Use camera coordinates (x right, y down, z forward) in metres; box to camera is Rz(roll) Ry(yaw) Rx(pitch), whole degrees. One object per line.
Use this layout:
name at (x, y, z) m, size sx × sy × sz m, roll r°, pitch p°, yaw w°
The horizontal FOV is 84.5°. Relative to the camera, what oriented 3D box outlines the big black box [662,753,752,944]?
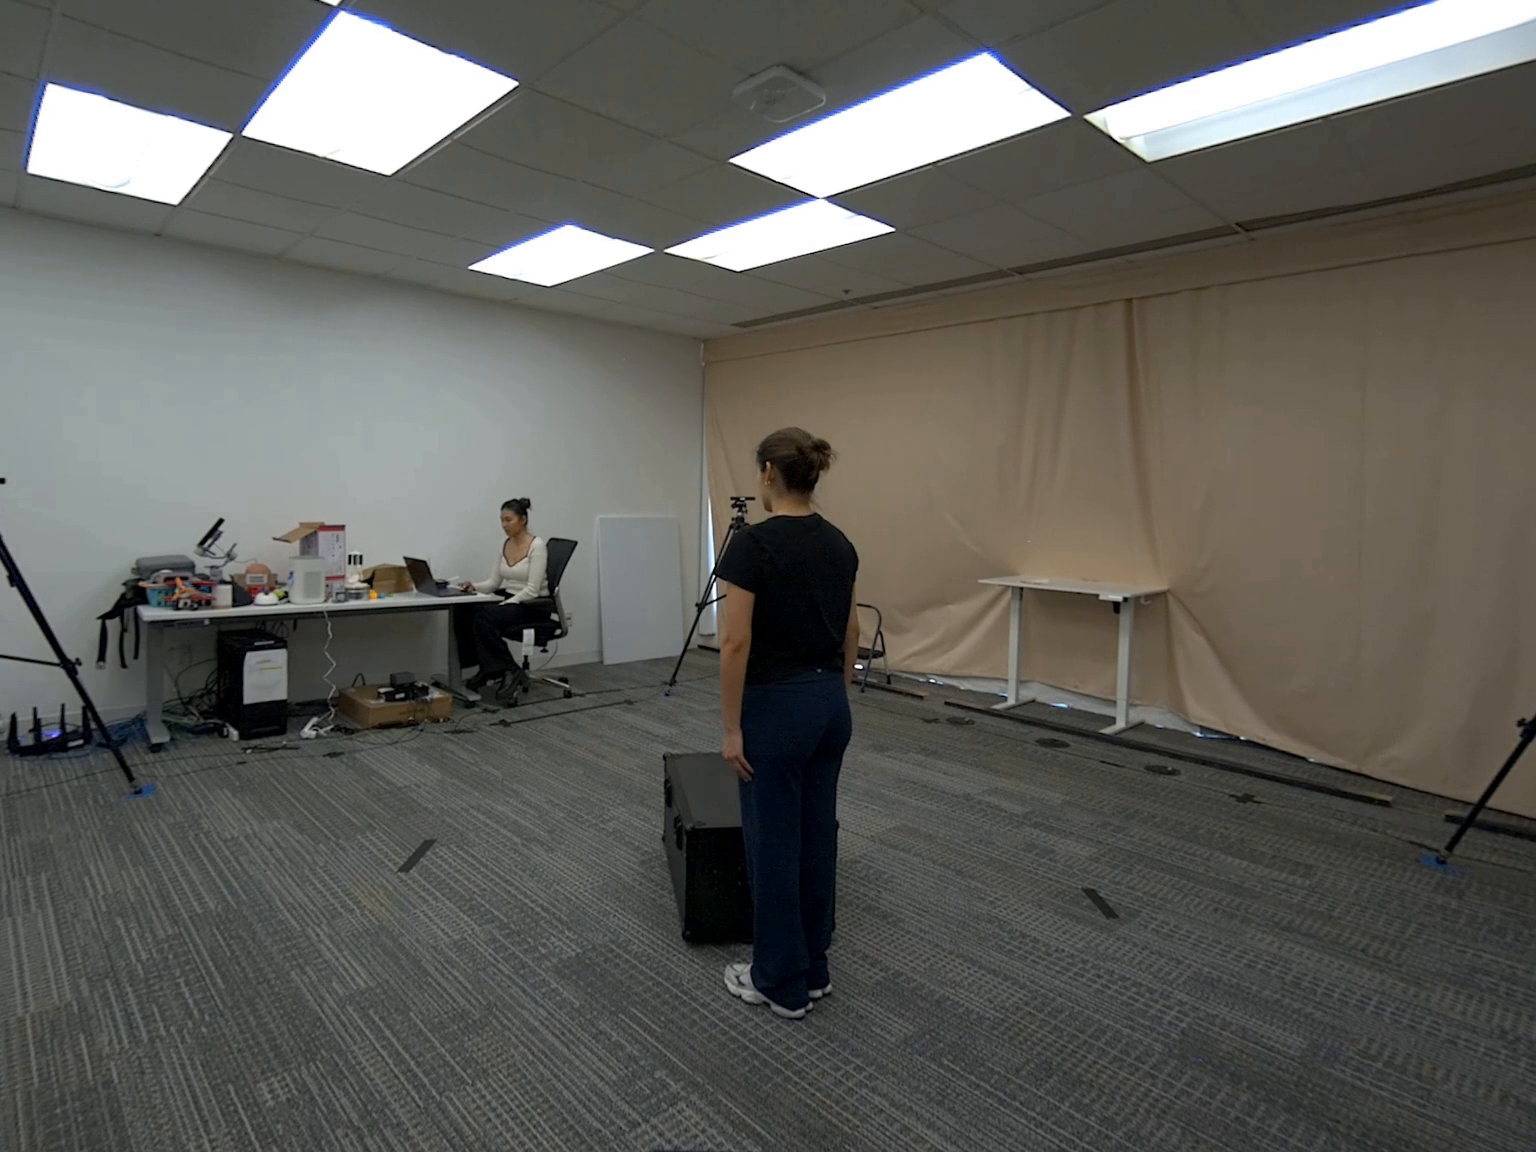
big black box at (-0.109, 0.921, 3.020) m, size 0.516 × 0.395 × 0.872 m, roll 1°, pitch 5°, yaw -12°
